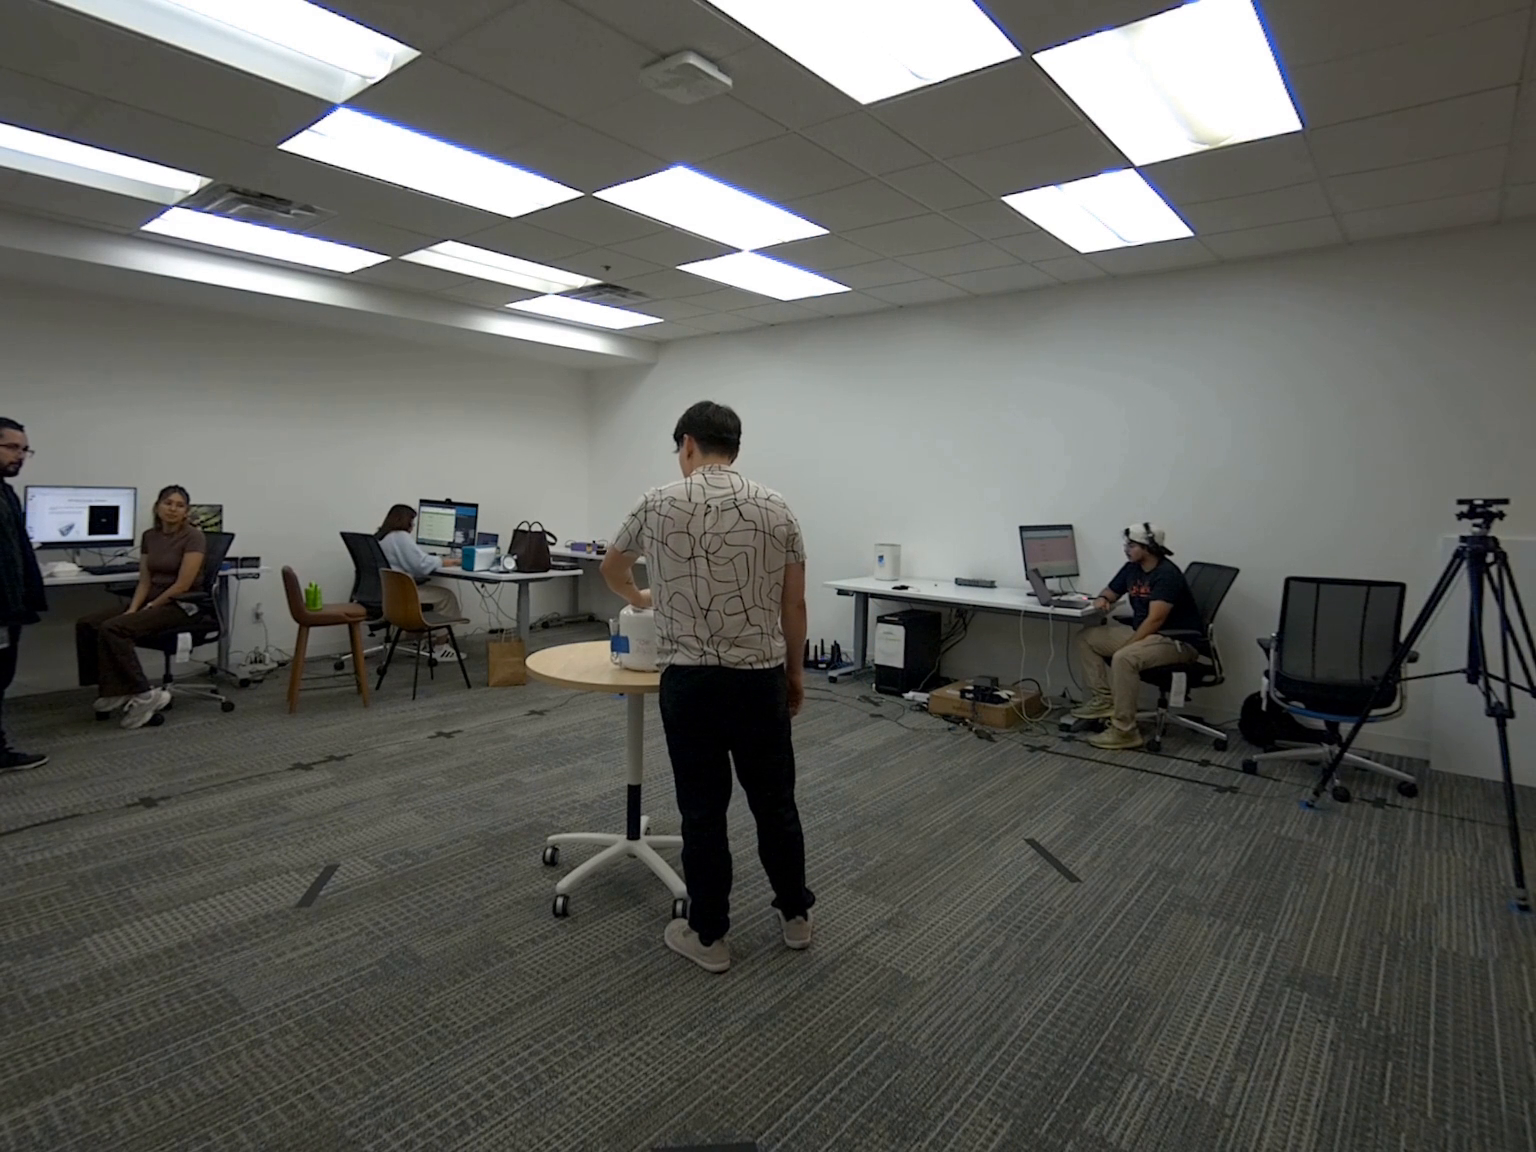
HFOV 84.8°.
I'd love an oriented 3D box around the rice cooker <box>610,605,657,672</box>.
[{"bbox_3d":[-0.412,0.192,2.885,0.227,0.232,0.212,4,5,31],"label":"rice cooker"}]
